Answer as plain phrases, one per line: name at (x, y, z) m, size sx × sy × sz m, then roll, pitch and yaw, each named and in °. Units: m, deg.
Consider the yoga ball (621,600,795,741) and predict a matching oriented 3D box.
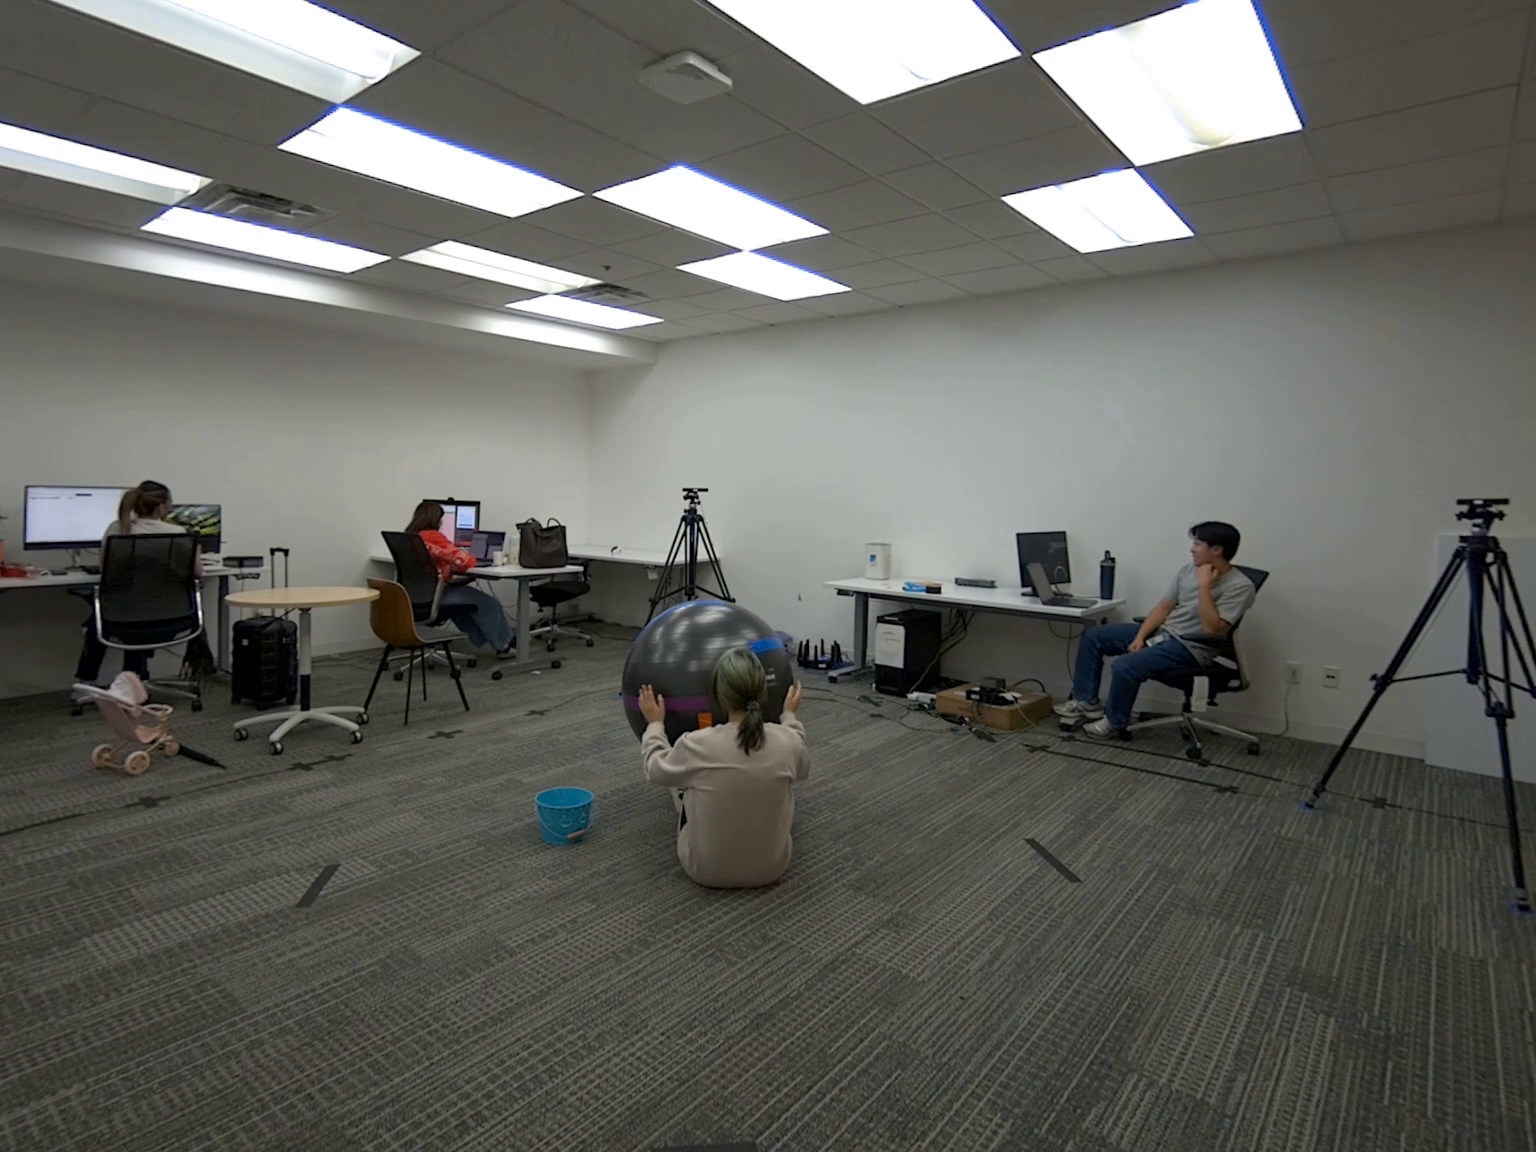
yoga ball at (-0.288, 0.482, 3.768) m, size 0.757 × 0.756 × 0.761 m, roll 1°, pitch 4°, yaw -2°
